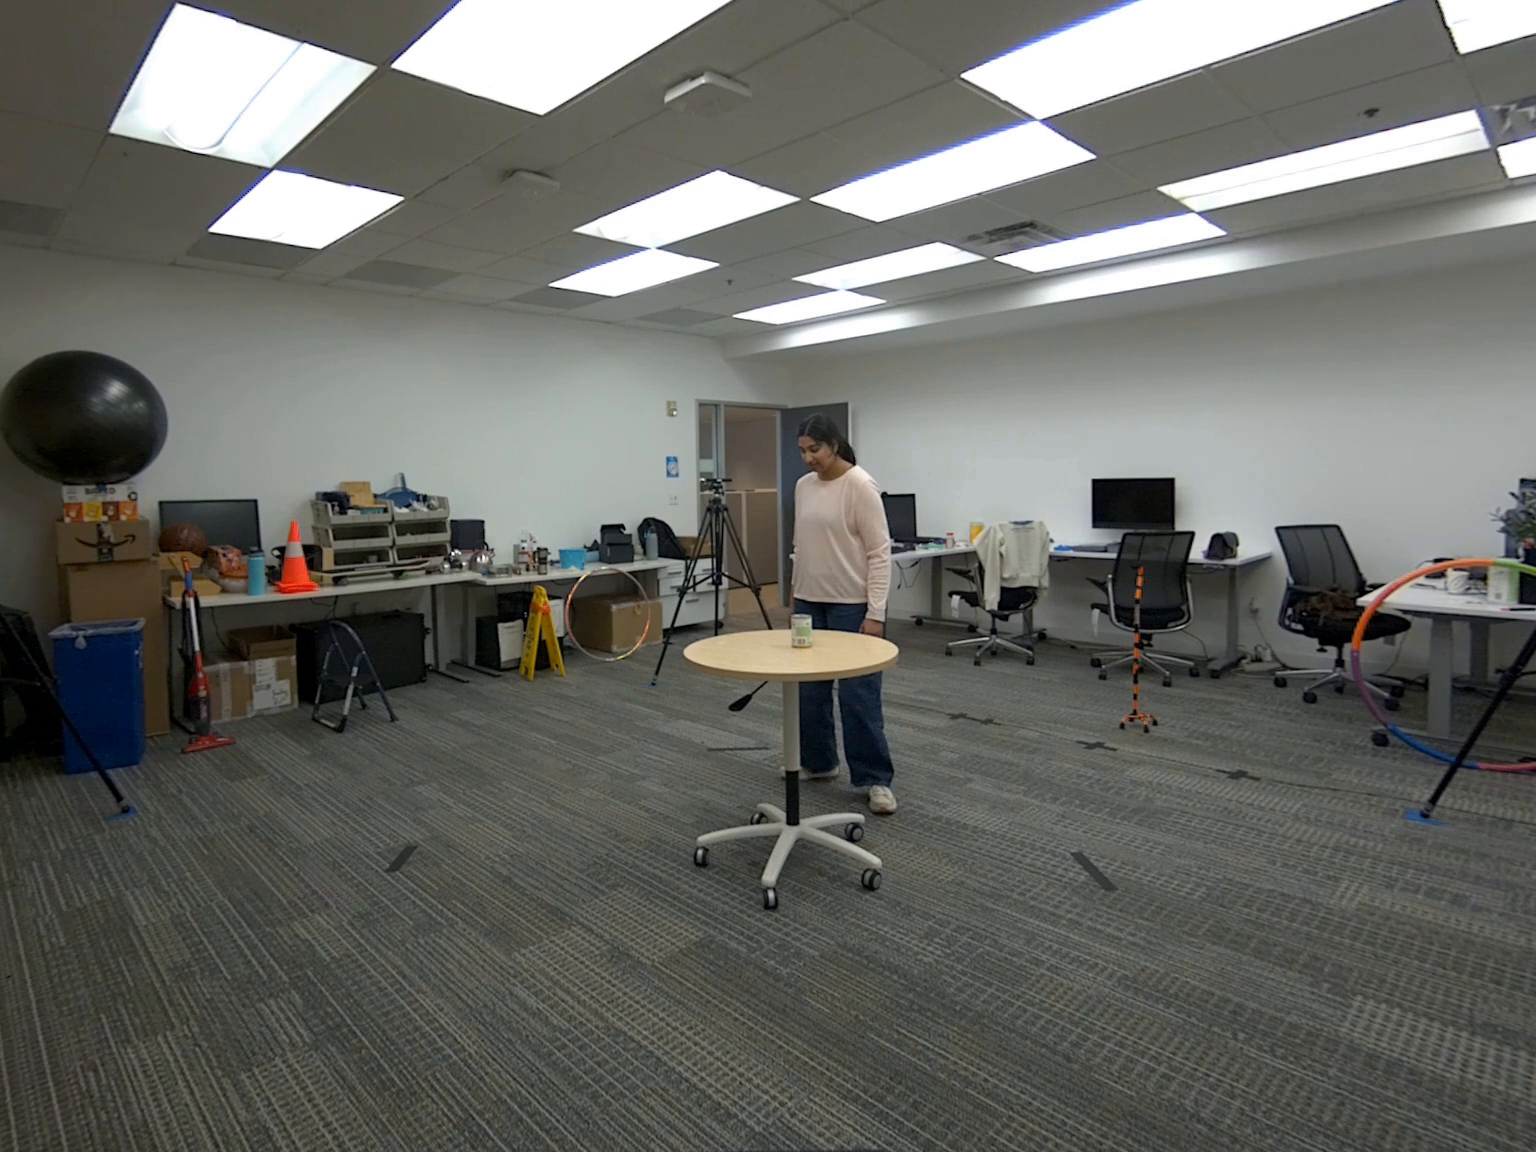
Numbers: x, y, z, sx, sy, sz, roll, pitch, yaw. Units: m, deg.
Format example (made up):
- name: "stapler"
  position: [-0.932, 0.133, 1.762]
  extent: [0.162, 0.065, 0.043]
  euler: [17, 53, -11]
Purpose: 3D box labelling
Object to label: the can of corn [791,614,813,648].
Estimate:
- name: "can of corn"
  position: [0.127, 0.201, 3.096]
  extent: [0.074, 0.110, 0.074]
  euler: [-2, 5, -2]
